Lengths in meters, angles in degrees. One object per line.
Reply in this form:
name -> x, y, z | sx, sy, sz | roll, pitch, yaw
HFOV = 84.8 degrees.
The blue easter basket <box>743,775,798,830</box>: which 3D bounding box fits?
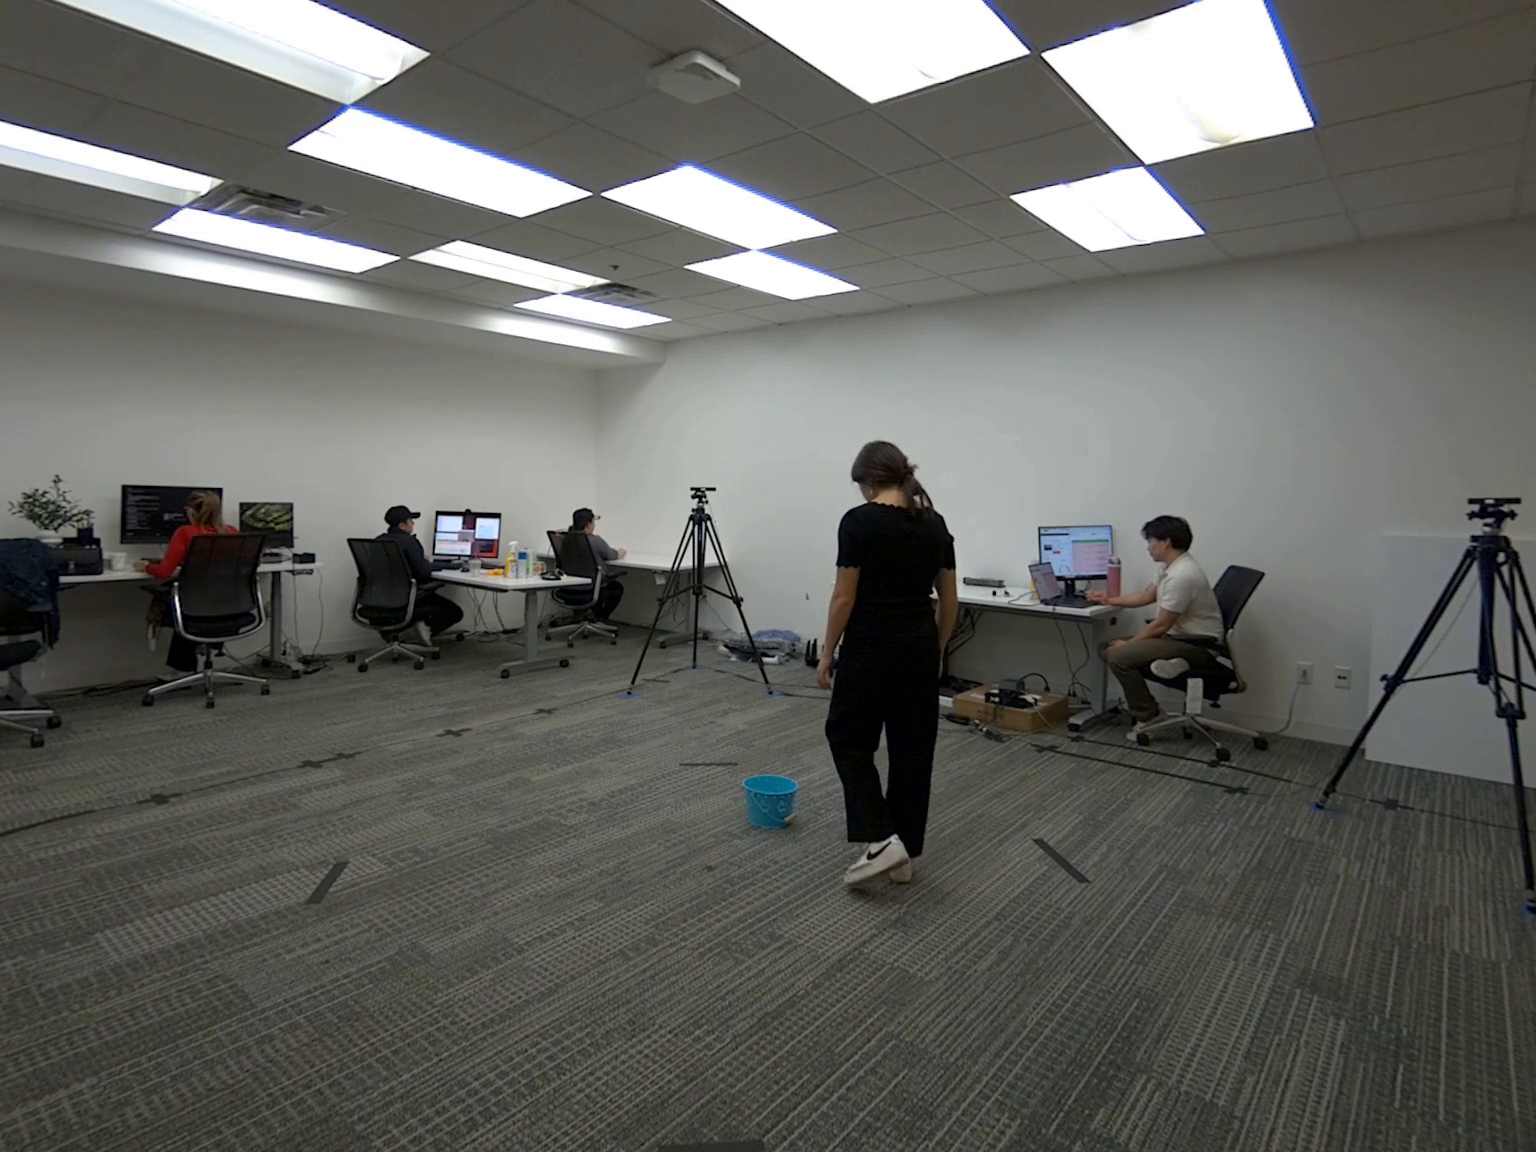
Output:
blue easter basket -> -0.001, 0.944, 3.572 | 0.243, 0.155, 0.245 | 1, 5, -2
